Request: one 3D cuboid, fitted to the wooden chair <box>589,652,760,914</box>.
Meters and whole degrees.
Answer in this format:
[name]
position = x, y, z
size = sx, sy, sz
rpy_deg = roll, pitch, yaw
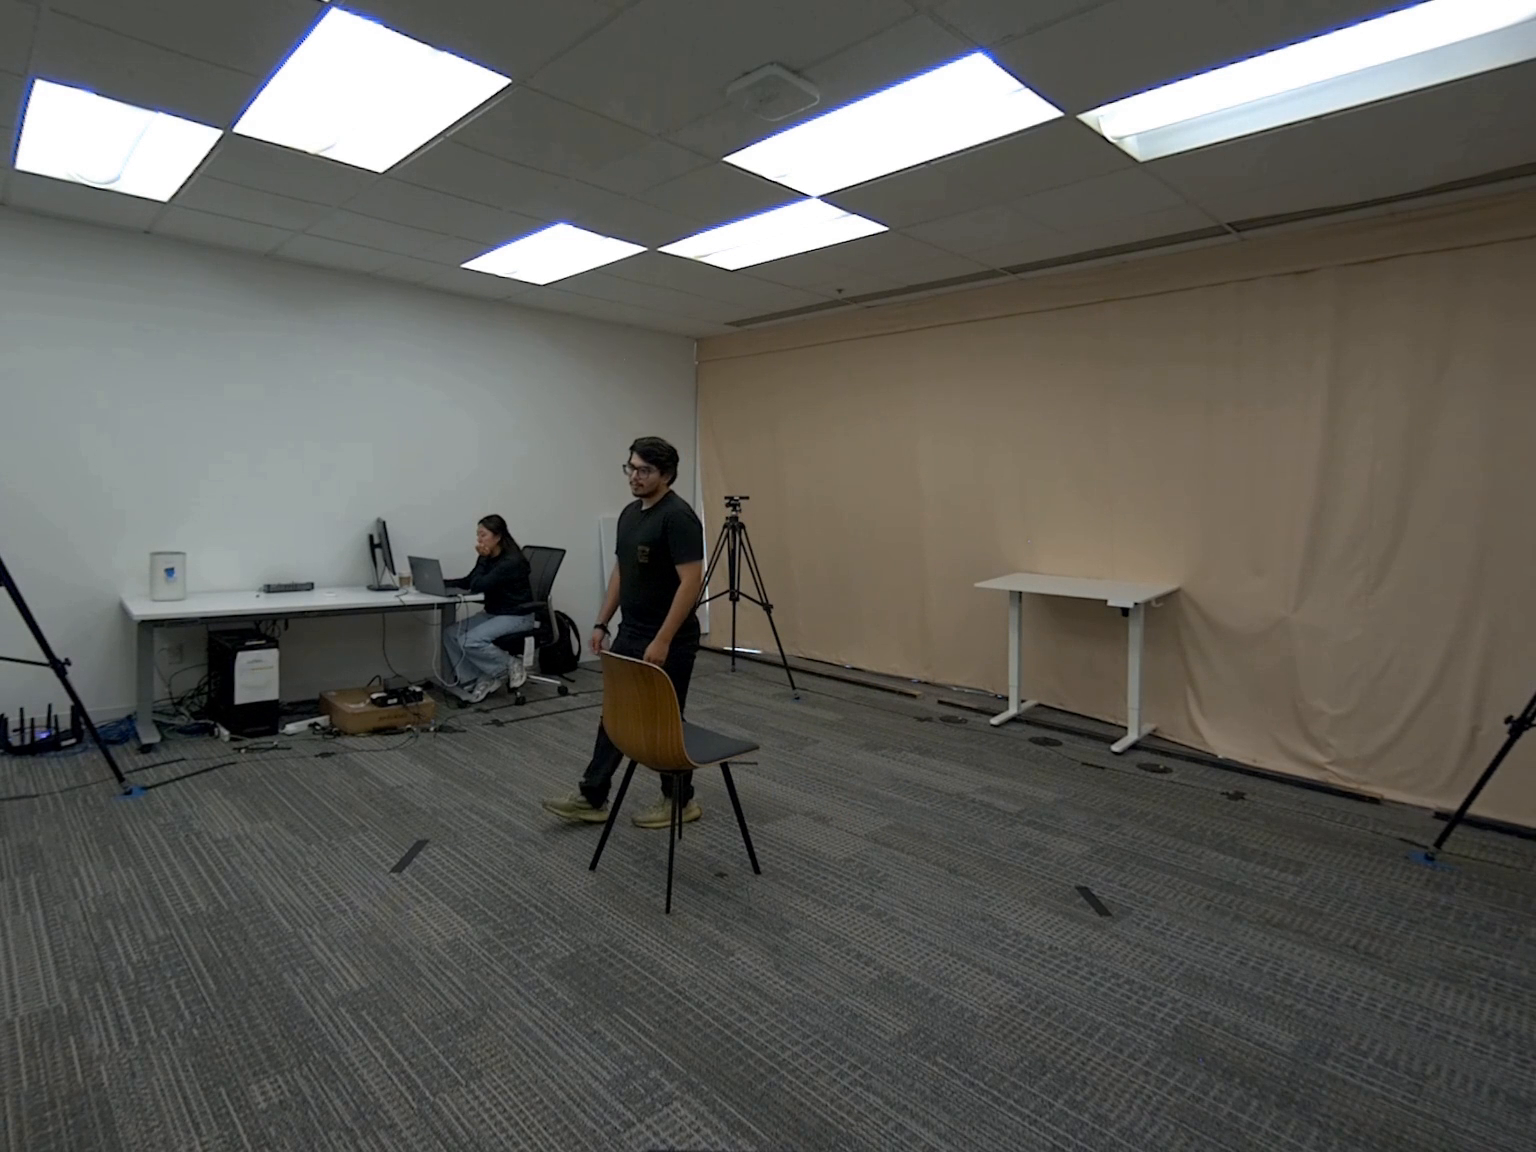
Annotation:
[wooden chair]
position = -0.332, 0.671, 3.092
size = 0.490, 0.873, 0.512
rpy_deg = 5, 9, 44
